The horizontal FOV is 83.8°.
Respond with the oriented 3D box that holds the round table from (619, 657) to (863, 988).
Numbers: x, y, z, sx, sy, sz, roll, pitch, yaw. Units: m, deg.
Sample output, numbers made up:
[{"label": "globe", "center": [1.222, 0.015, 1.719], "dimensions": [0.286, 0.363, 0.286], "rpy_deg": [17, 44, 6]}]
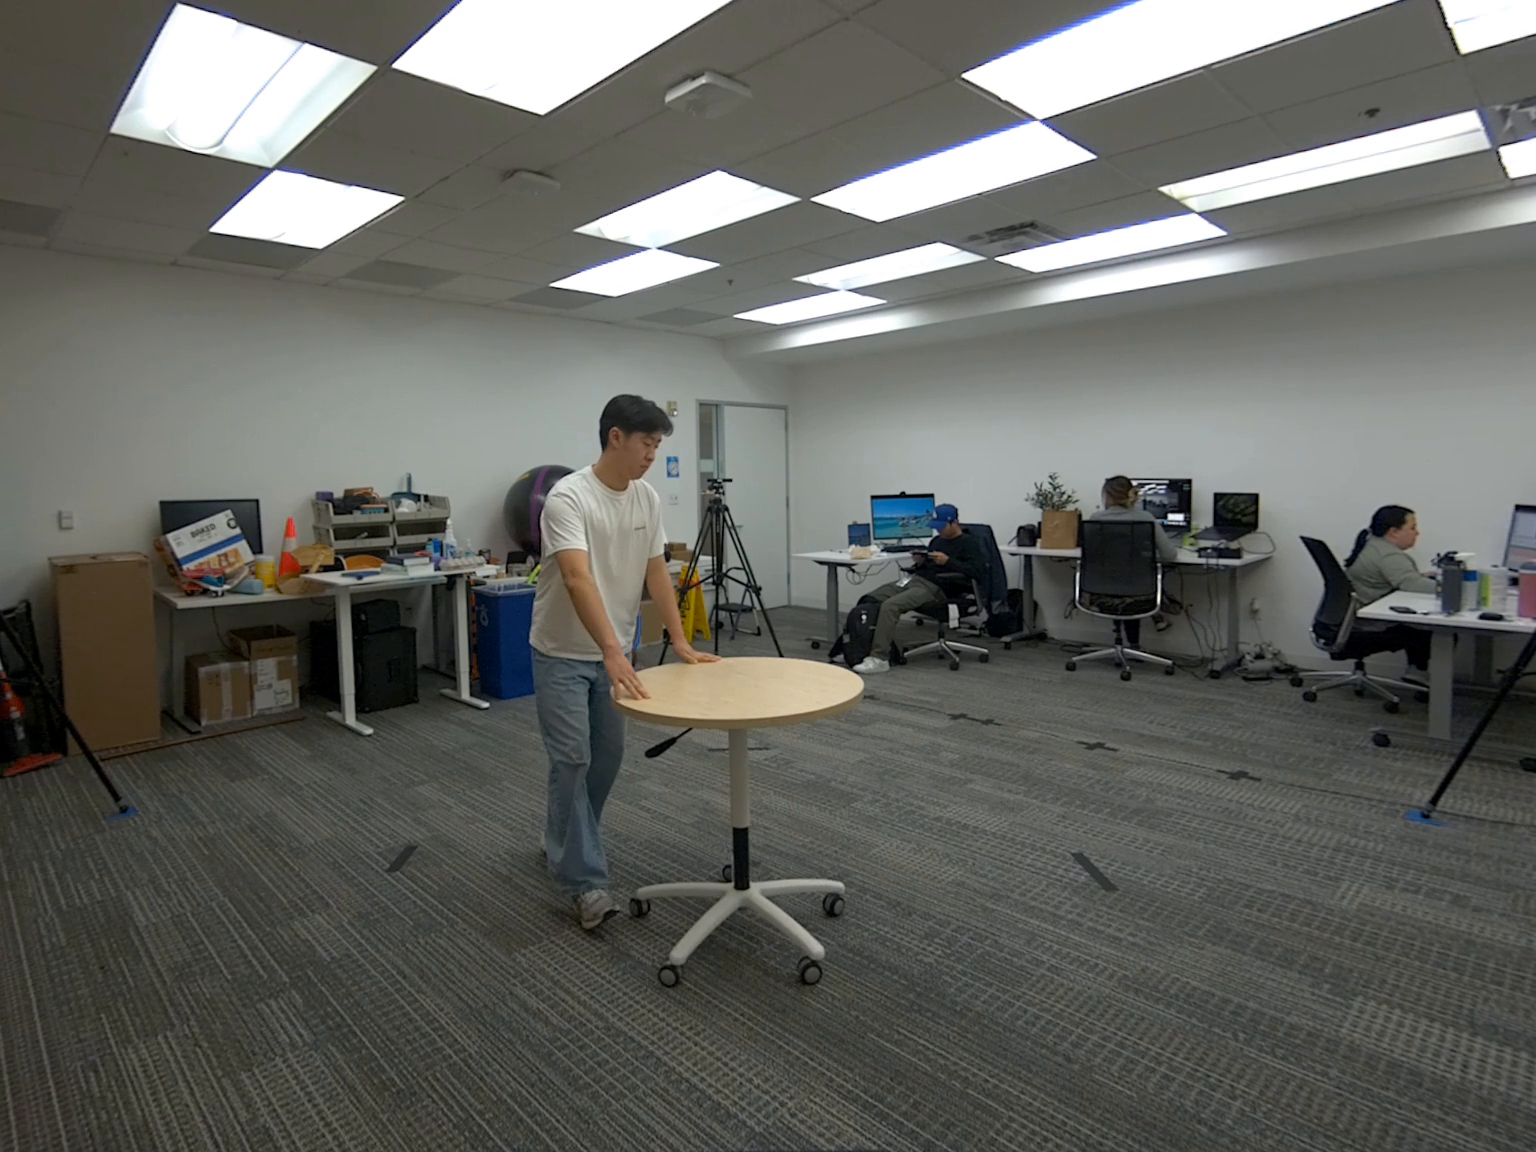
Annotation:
[{"label": "round table", "center": [-0.088, 0.718, 2.618], "dimensions": [0.763, 0.791, 0.768], "rpy_deg": [-2, 5, -1]}]
